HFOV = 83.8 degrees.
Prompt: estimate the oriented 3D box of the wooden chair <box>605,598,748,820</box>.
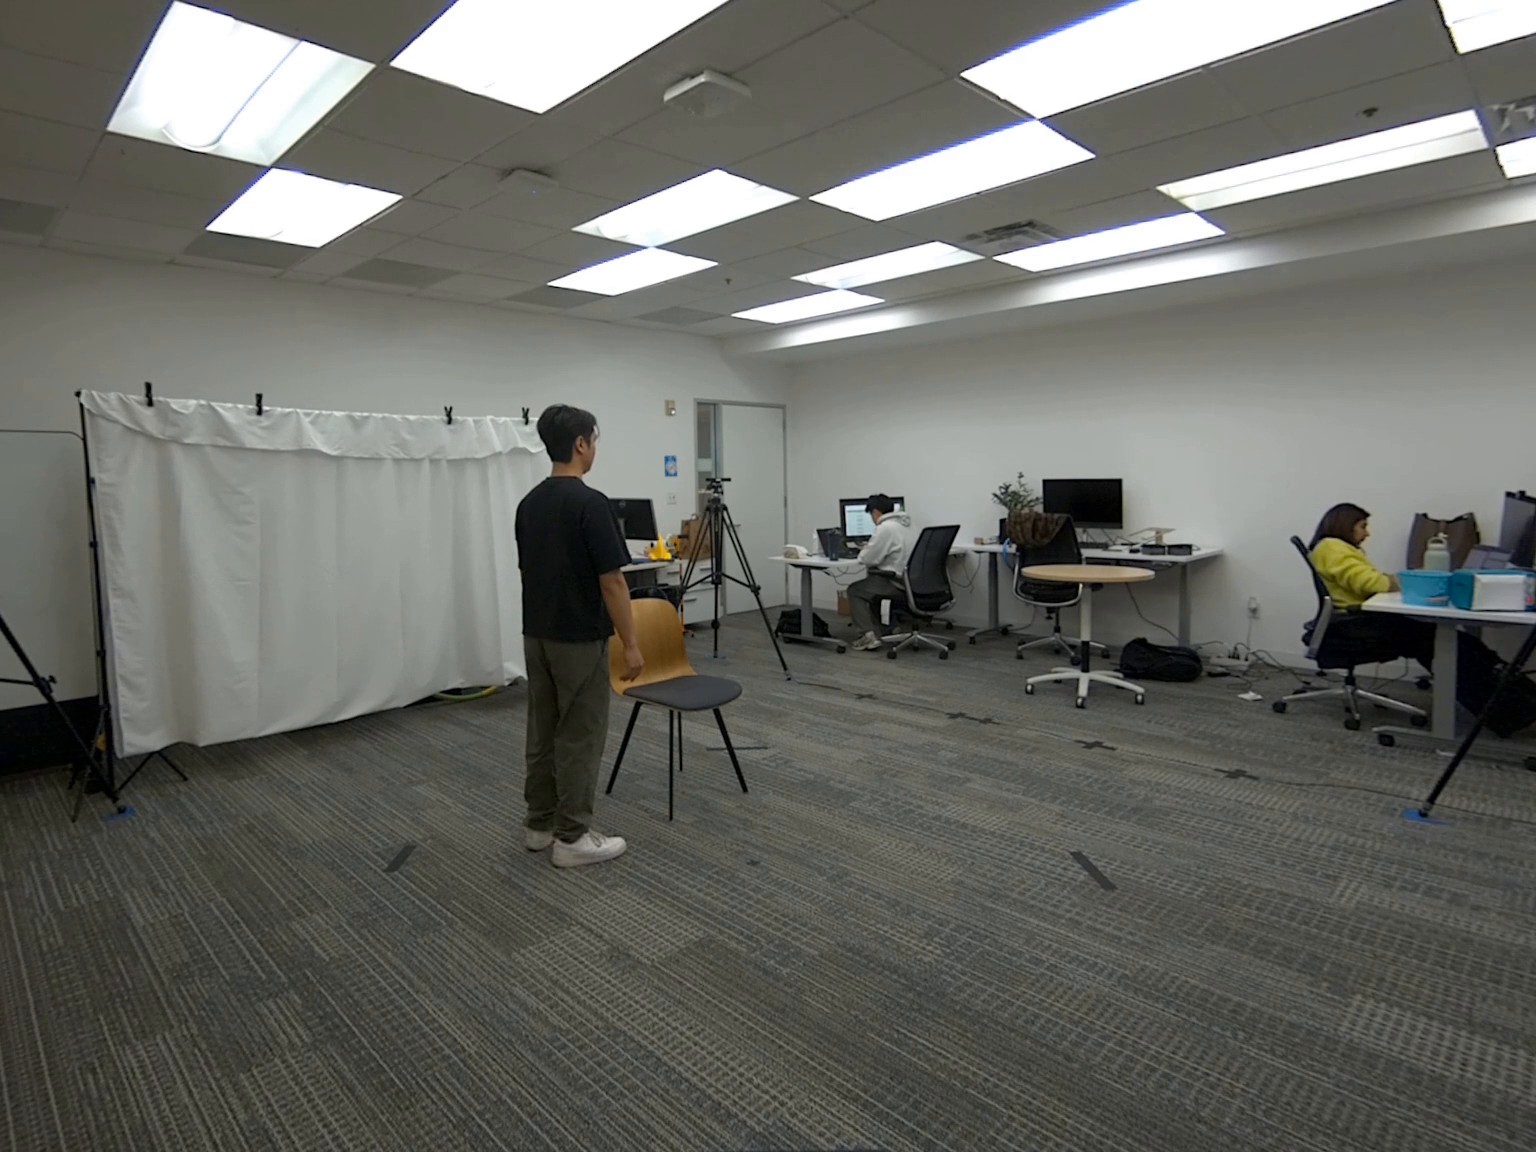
[{"bbox_3d":[-0.408,0.546,3.778,0.537,0.877,0.465,-3,1,45],"label":"wooden chair"}]
